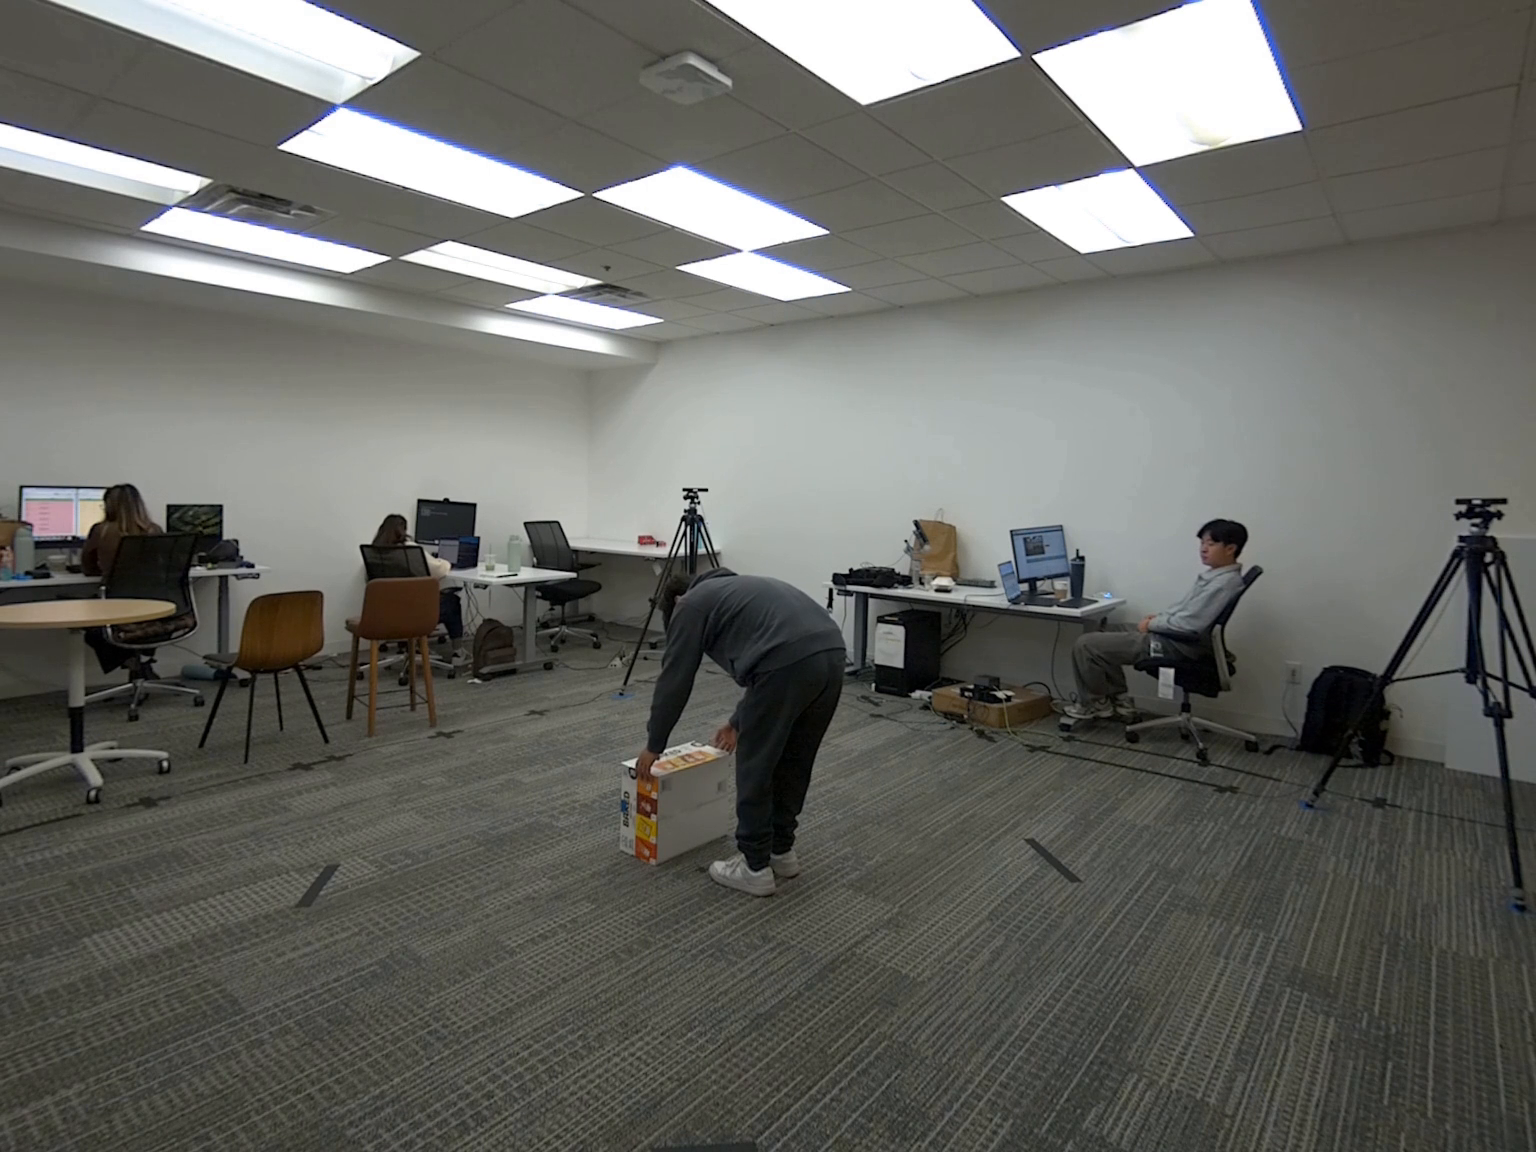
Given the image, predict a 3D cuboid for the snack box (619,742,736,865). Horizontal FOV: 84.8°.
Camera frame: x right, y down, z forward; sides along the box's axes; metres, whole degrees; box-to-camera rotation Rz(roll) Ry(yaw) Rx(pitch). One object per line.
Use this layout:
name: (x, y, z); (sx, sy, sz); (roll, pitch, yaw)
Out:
snack box: (-0.372, 0.877, 3.336); (0.213, 0.339, 0.393); (6, 6, 40)
